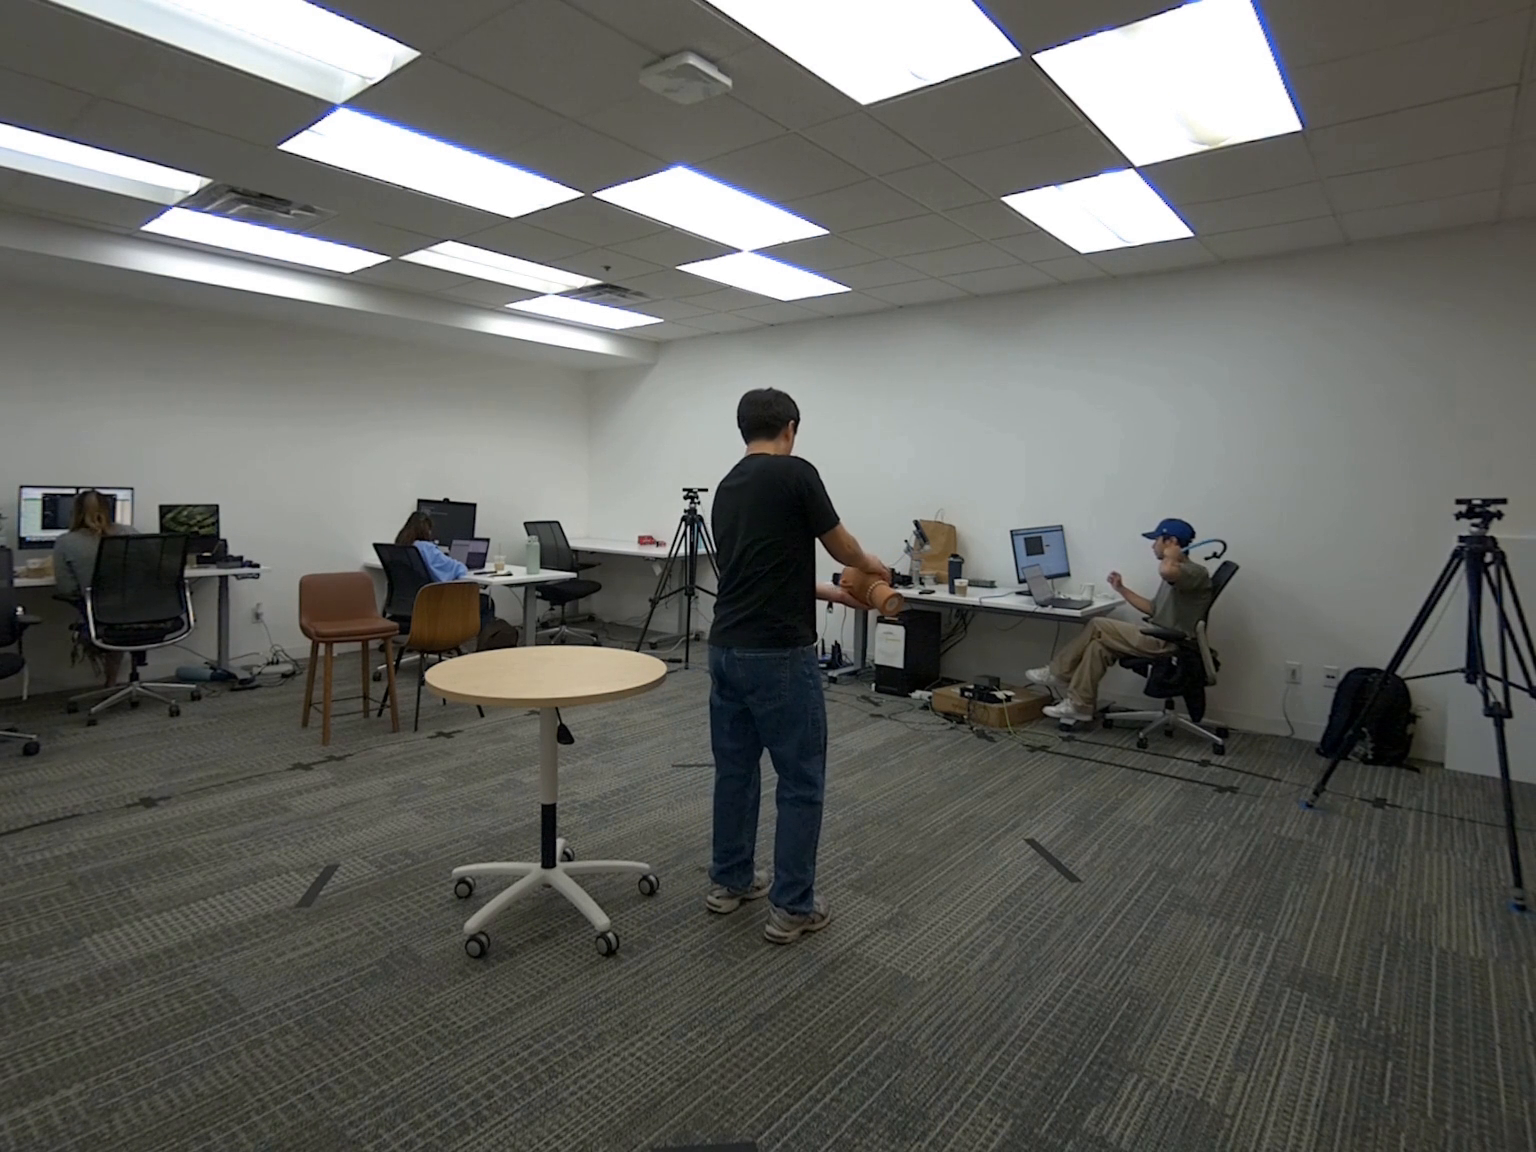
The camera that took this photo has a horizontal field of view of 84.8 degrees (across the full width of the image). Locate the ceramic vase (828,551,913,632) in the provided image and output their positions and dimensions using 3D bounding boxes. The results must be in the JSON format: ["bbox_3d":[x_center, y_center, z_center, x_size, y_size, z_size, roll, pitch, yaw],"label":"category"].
[{"bbox_3d":[0.358,0.048,2.956,0.158,0.129,0.229,-39,40,-6],"label":"ceramic vase"}]
